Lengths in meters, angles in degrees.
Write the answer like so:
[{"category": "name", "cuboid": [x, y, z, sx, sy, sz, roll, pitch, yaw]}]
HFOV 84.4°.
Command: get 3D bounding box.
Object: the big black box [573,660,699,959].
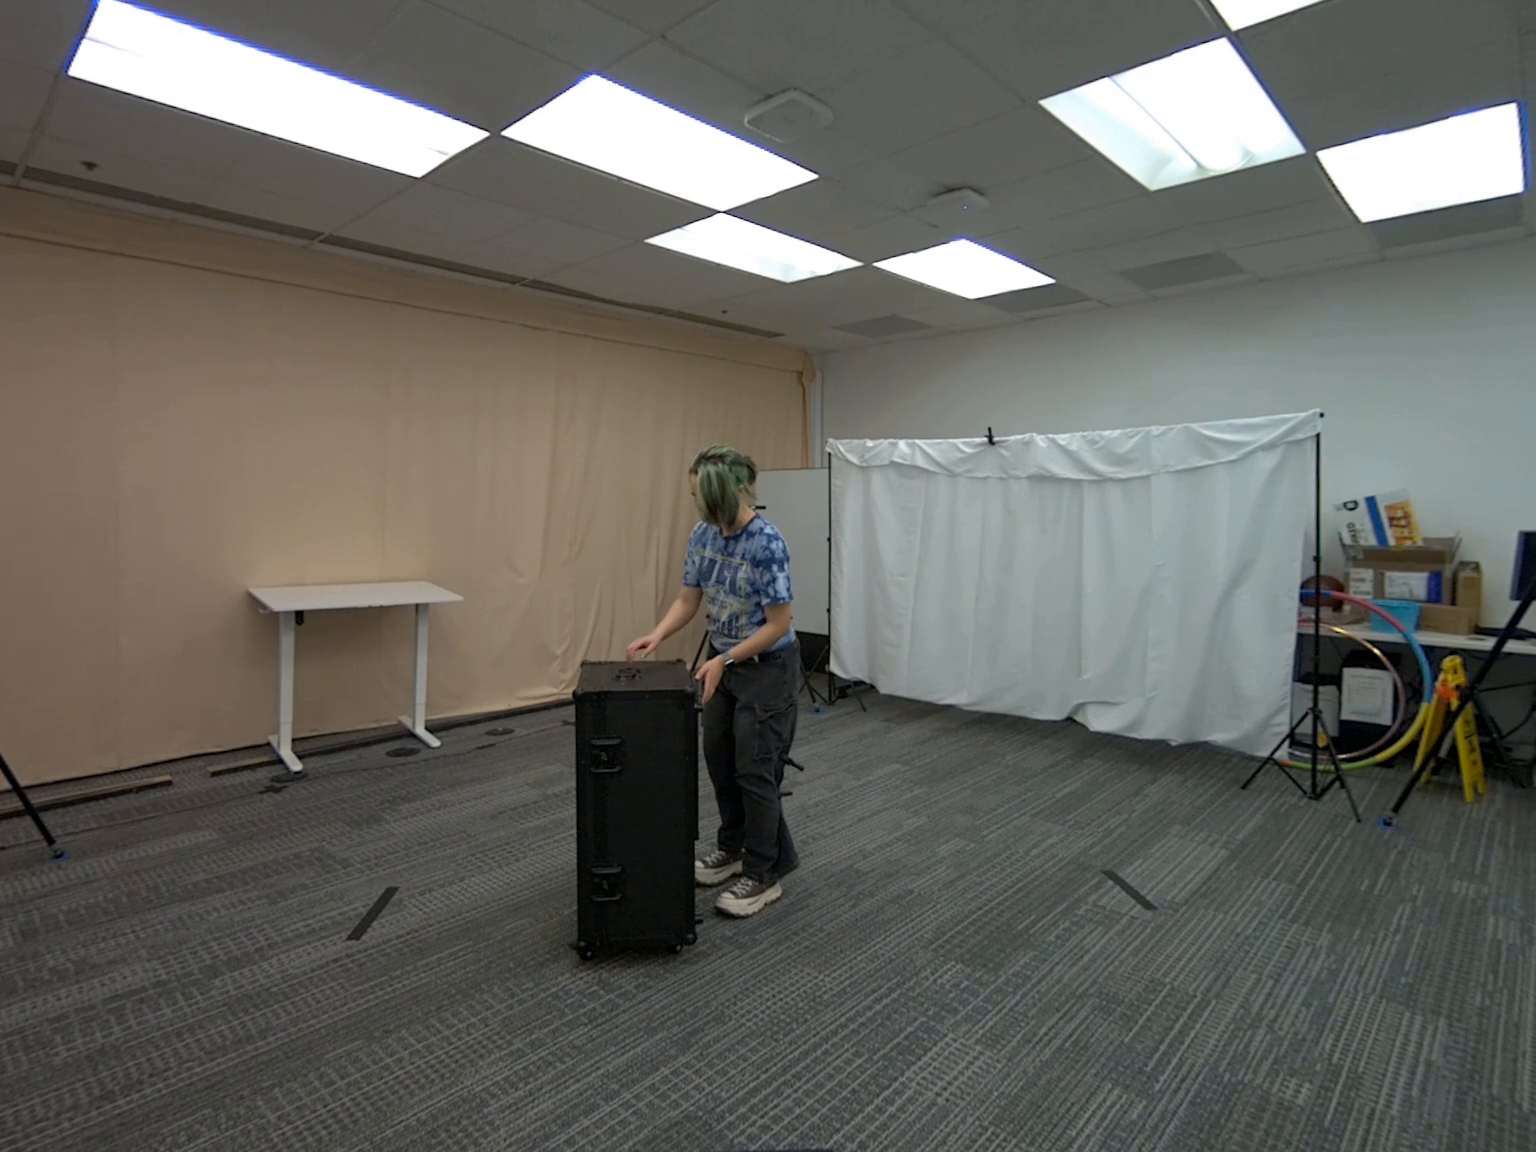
[{"category": "big black box", "cuboid": [-0.430, 0.745, 2.736, 0.393, 0.860, 0.526, 0, 2, -8]}]
